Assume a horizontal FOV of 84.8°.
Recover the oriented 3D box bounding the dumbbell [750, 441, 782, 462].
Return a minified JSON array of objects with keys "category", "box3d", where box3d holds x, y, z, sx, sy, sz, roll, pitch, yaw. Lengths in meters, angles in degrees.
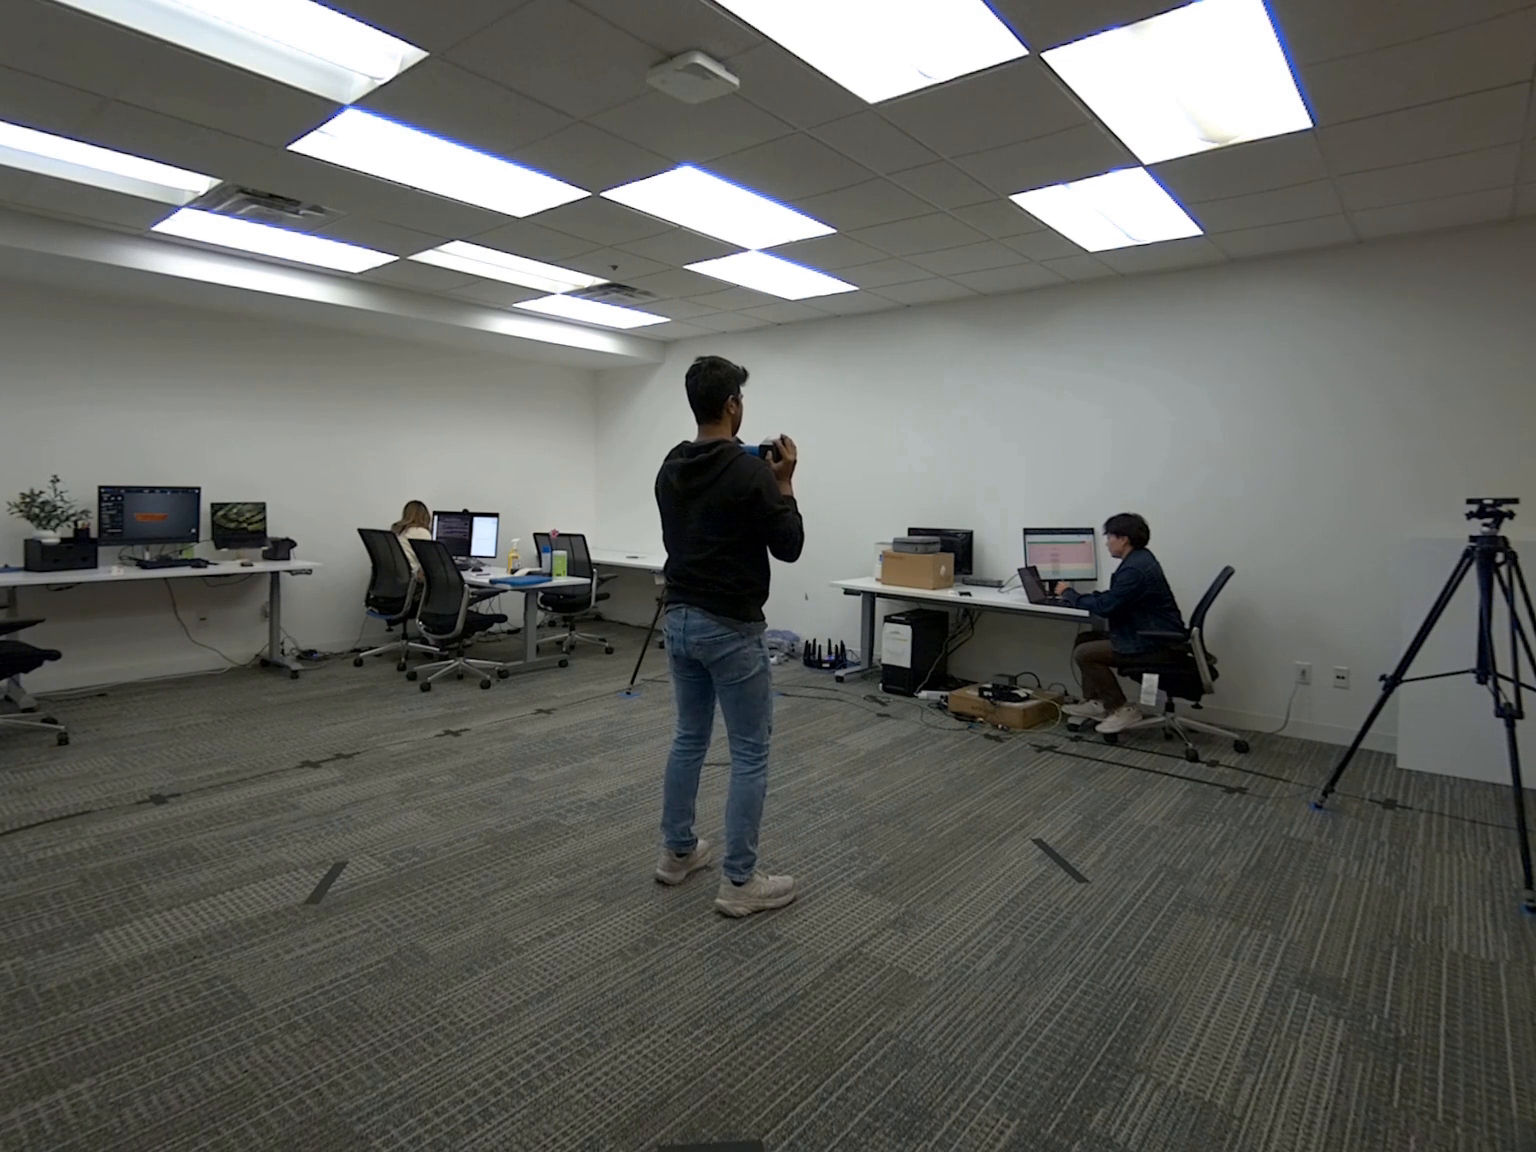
[{"category":"dumbbell","box3d":[-0.071,-0.427,3.026,0.304,0.122,0.106,8,11,39]}]
